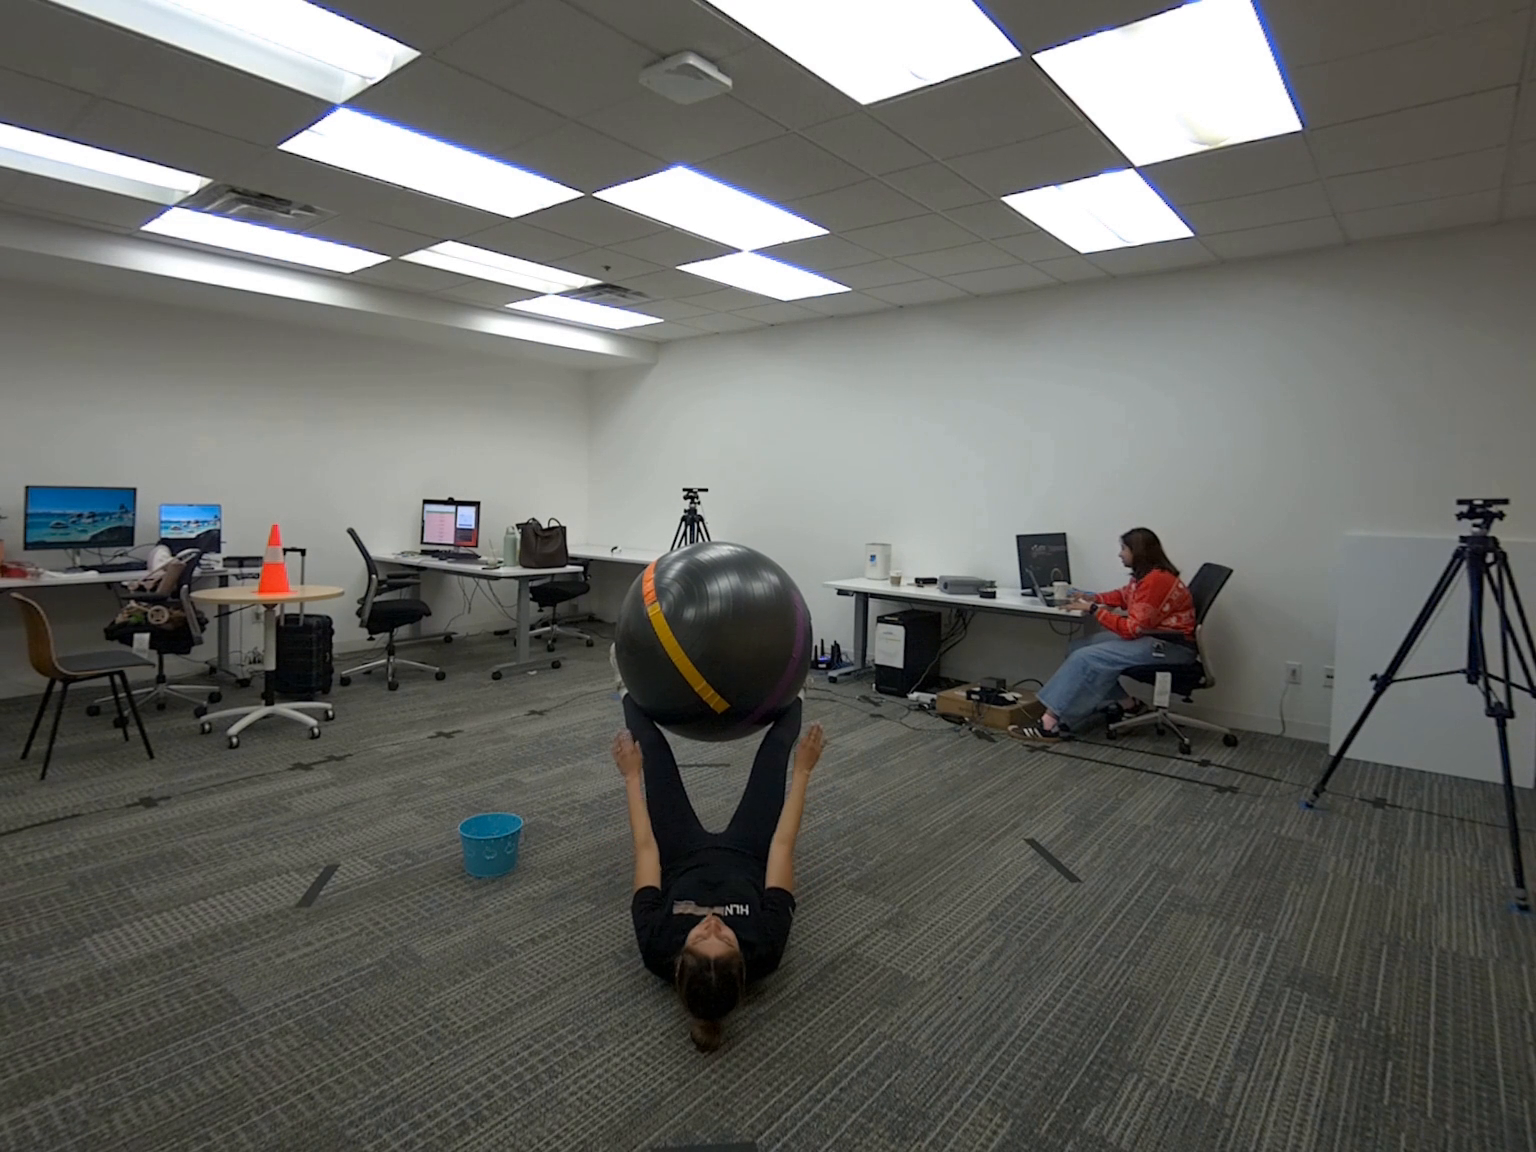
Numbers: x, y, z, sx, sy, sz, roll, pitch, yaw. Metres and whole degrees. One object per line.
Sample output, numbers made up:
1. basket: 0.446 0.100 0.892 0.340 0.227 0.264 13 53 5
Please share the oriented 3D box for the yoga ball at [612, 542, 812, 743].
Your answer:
1. yoga ball: -0.208 0.248 3.244 0.757 0.756 0.762 1 4 -2
